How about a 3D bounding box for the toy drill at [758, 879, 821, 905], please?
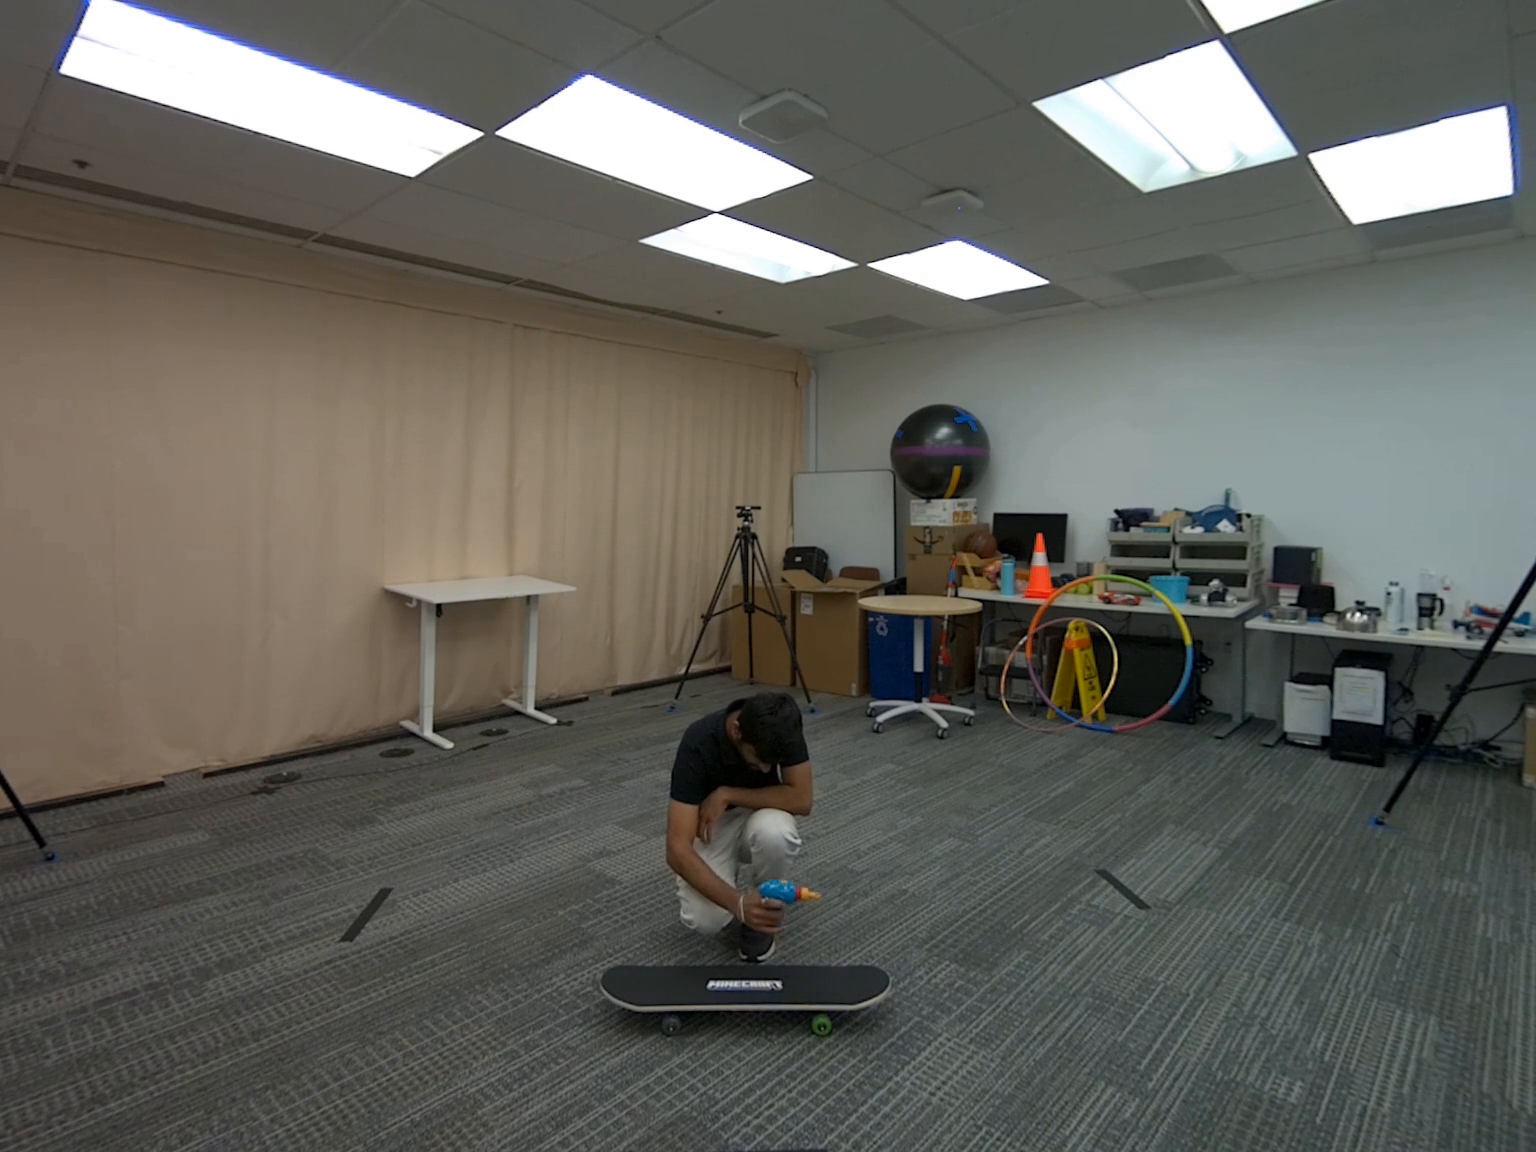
[{"bbox_3d":[0.060,0.888,2.273,0.169,0.145,0.062,5,14,-6],"label":"toy drill"}]
